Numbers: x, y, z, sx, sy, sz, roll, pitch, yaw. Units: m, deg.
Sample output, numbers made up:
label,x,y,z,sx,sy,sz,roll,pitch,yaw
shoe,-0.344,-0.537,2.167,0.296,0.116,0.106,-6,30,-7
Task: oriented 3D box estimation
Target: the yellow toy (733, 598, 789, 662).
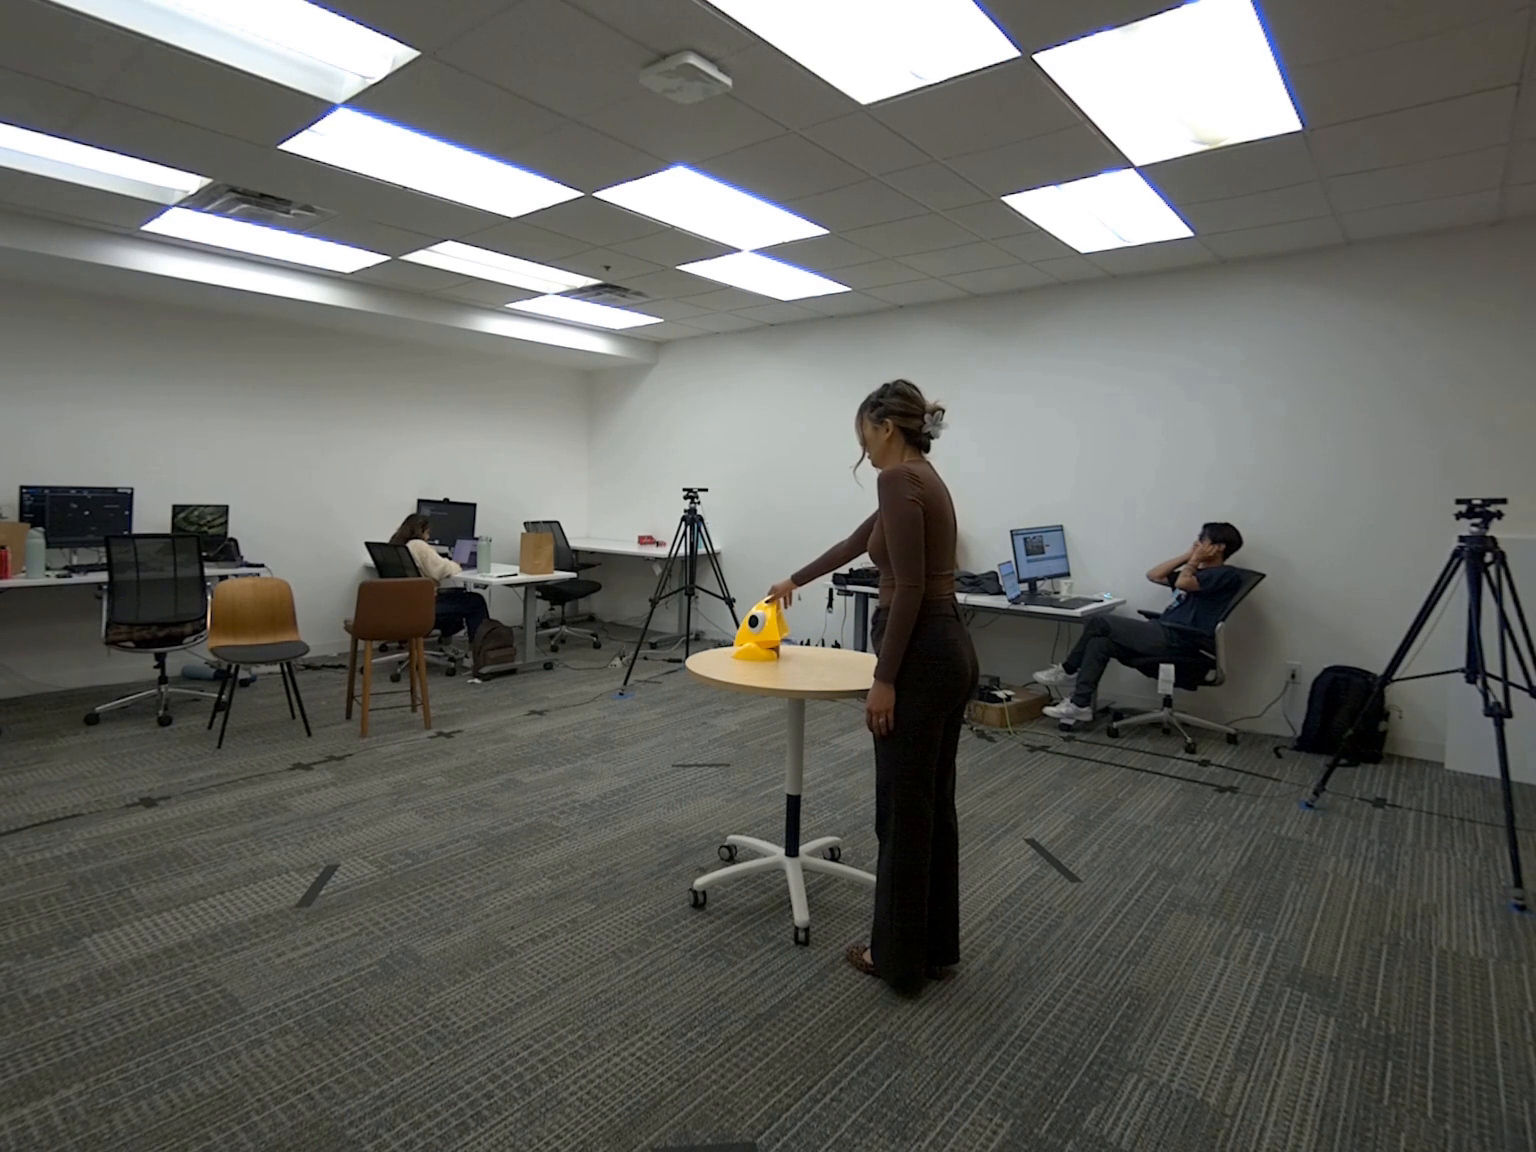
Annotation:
label,x,y,z,sx,sy,sz,roll,pitch,yaw
yellow toy,-0.038,0.168,3.036,0.196,0.230,0.202,3,3,12
